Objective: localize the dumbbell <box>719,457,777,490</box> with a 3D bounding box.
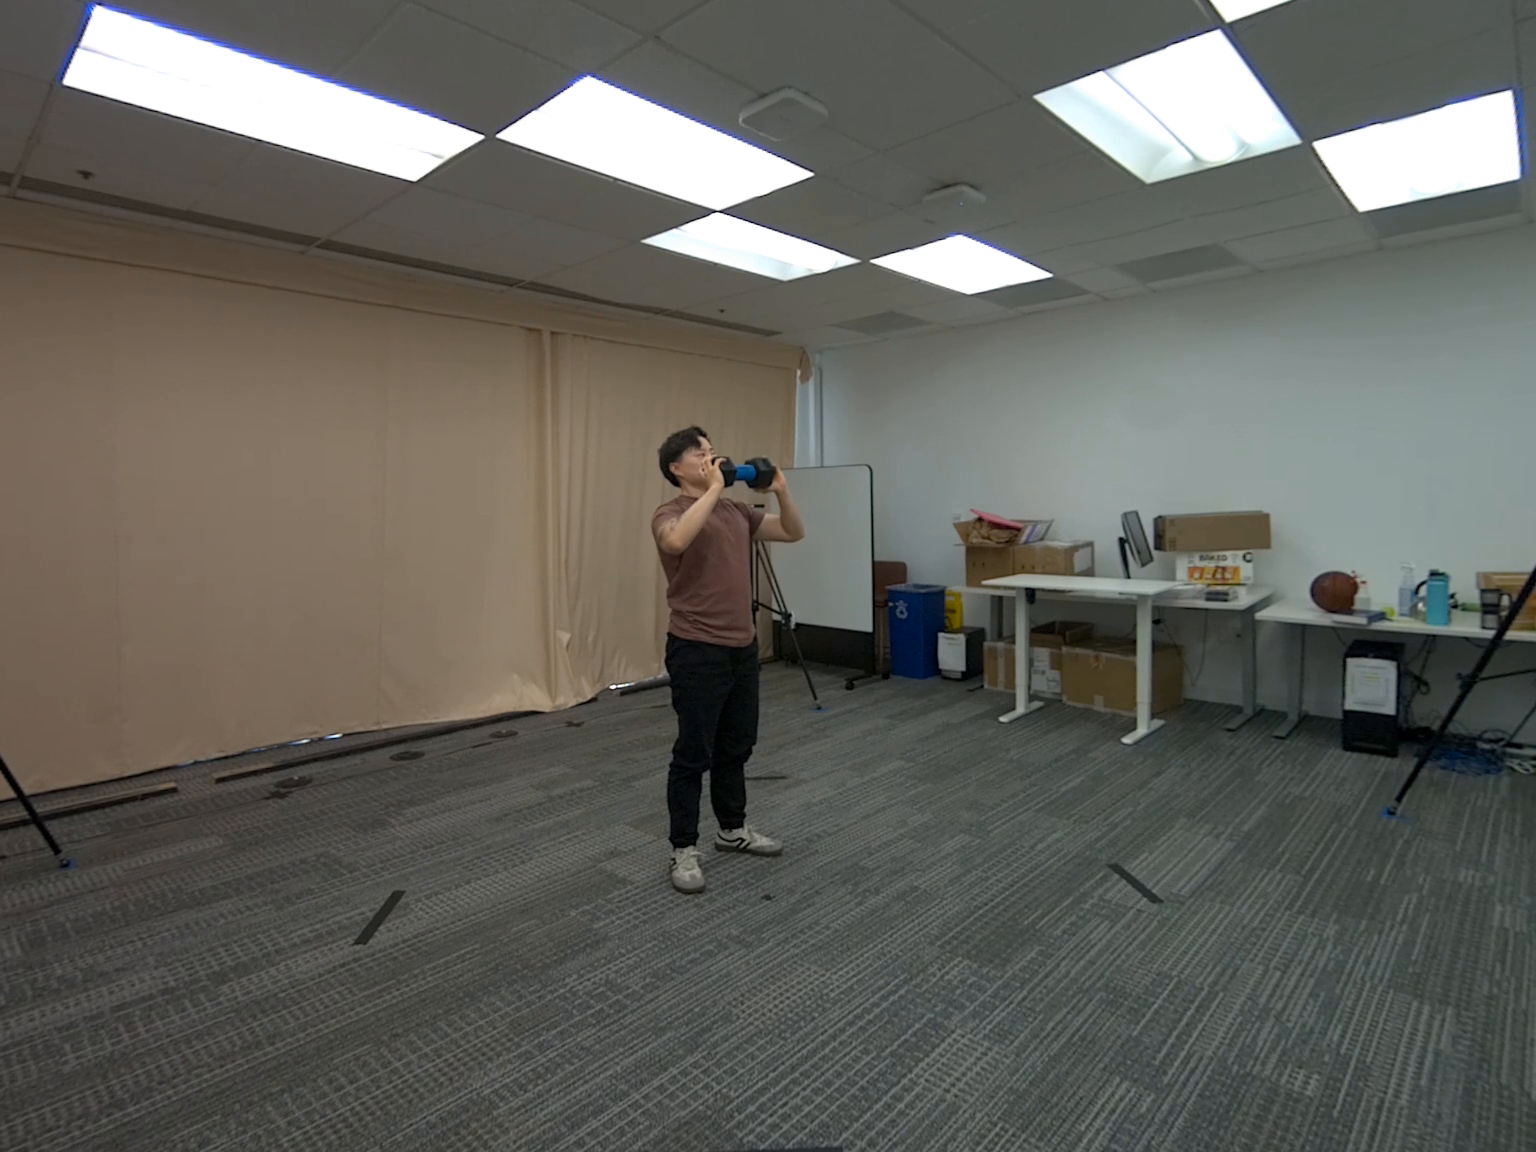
[{"bbox_3d":[-0.102,-0.386,3.090,0.285,0.126,0.109,-8,-31,-48],"label":"dumbbell"}]
